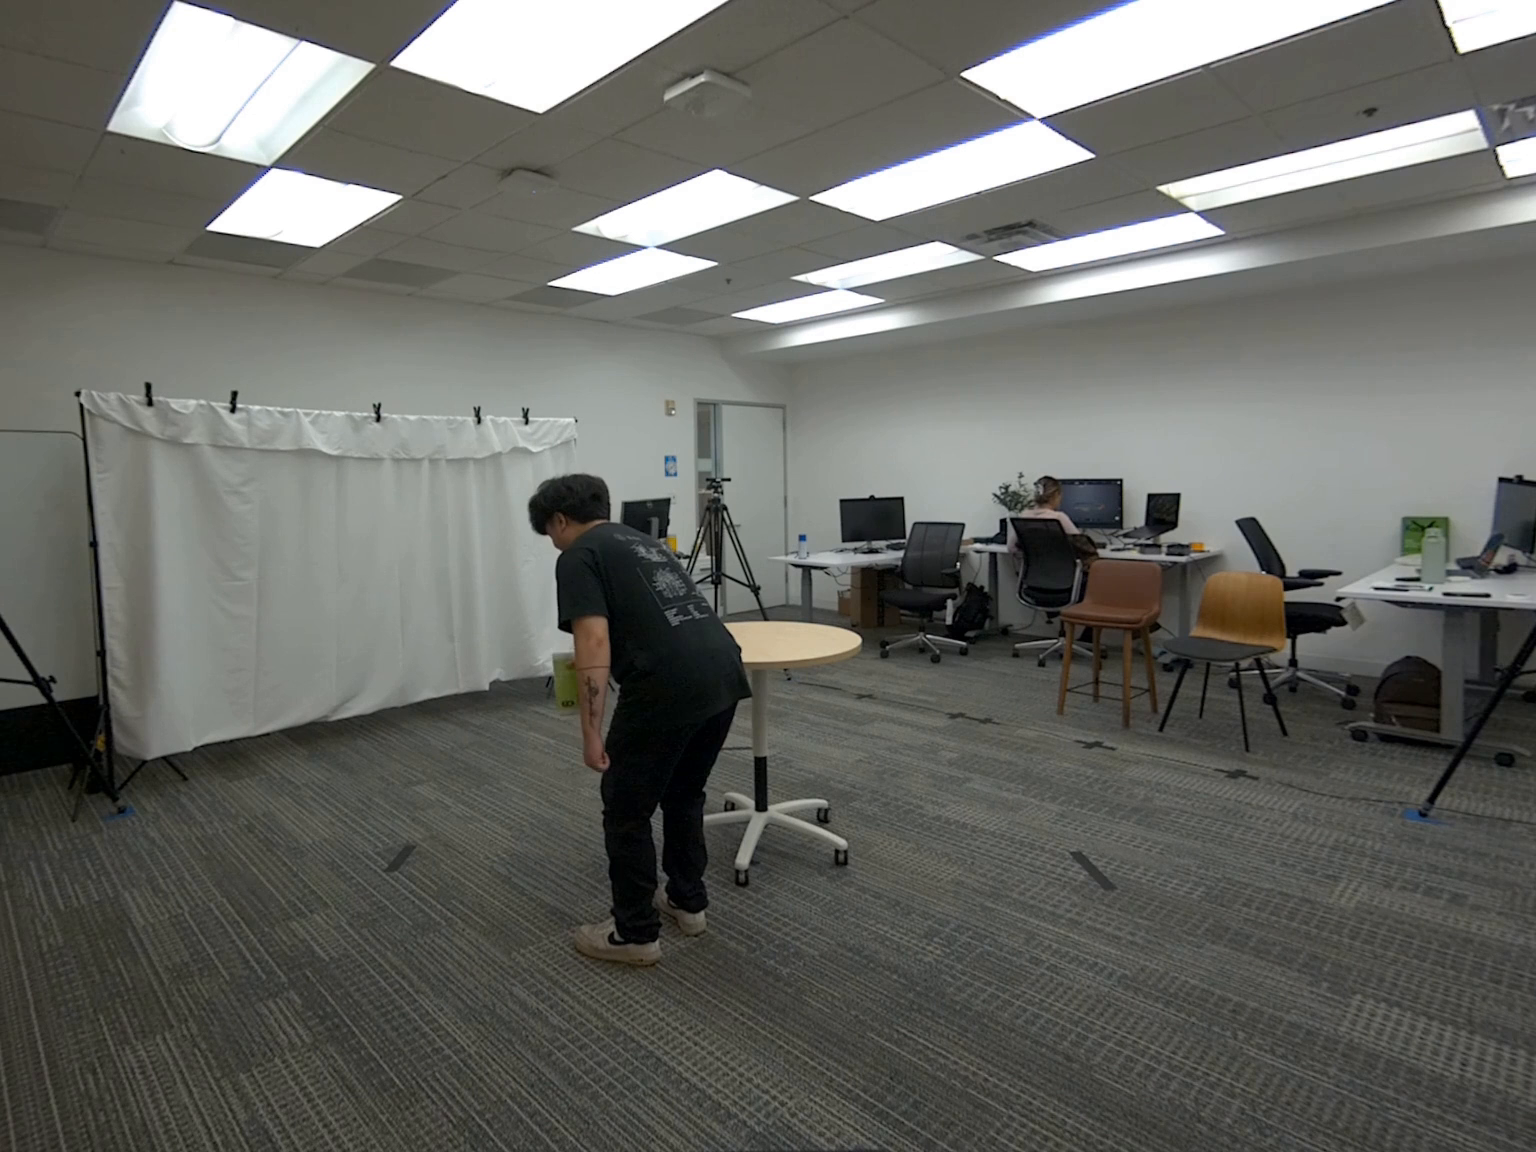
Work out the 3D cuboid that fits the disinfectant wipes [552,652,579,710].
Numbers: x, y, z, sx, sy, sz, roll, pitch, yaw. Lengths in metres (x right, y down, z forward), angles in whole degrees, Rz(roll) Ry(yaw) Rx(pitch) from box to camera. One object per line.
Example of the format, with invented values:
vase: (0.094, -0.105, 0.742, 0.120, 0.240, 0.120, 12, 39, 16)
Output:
disinfectant wipes: (-0.676, 0.366, 2.920, 0.117, 0.219, 0.117, -5, -7, -2)
